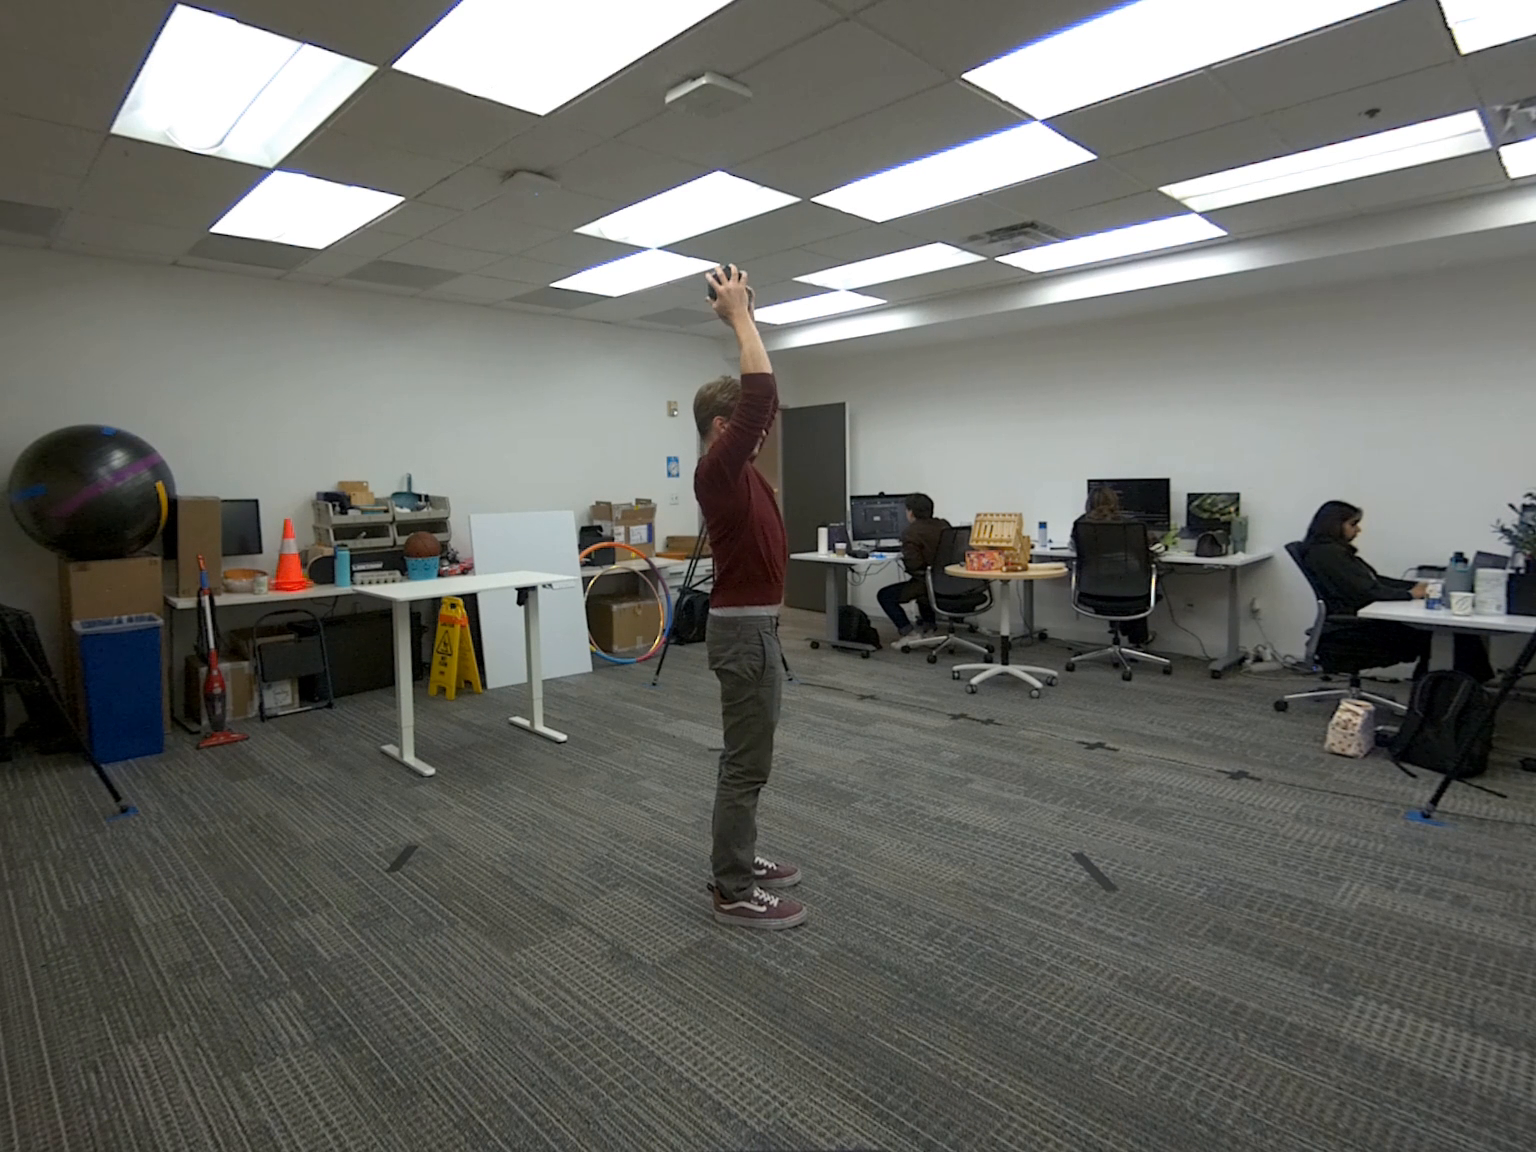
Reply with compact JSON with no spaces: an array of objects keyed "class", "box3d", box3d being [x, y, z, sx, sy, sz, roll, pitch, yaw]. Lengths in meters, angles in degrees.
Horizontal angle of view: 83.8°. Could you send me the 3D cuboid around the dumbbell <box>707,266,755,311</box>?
[{"class":"dumbbell","box3d":[-0.109,-0.900,2.728,0.123,0.108,0.293,-29,4,10]}]
